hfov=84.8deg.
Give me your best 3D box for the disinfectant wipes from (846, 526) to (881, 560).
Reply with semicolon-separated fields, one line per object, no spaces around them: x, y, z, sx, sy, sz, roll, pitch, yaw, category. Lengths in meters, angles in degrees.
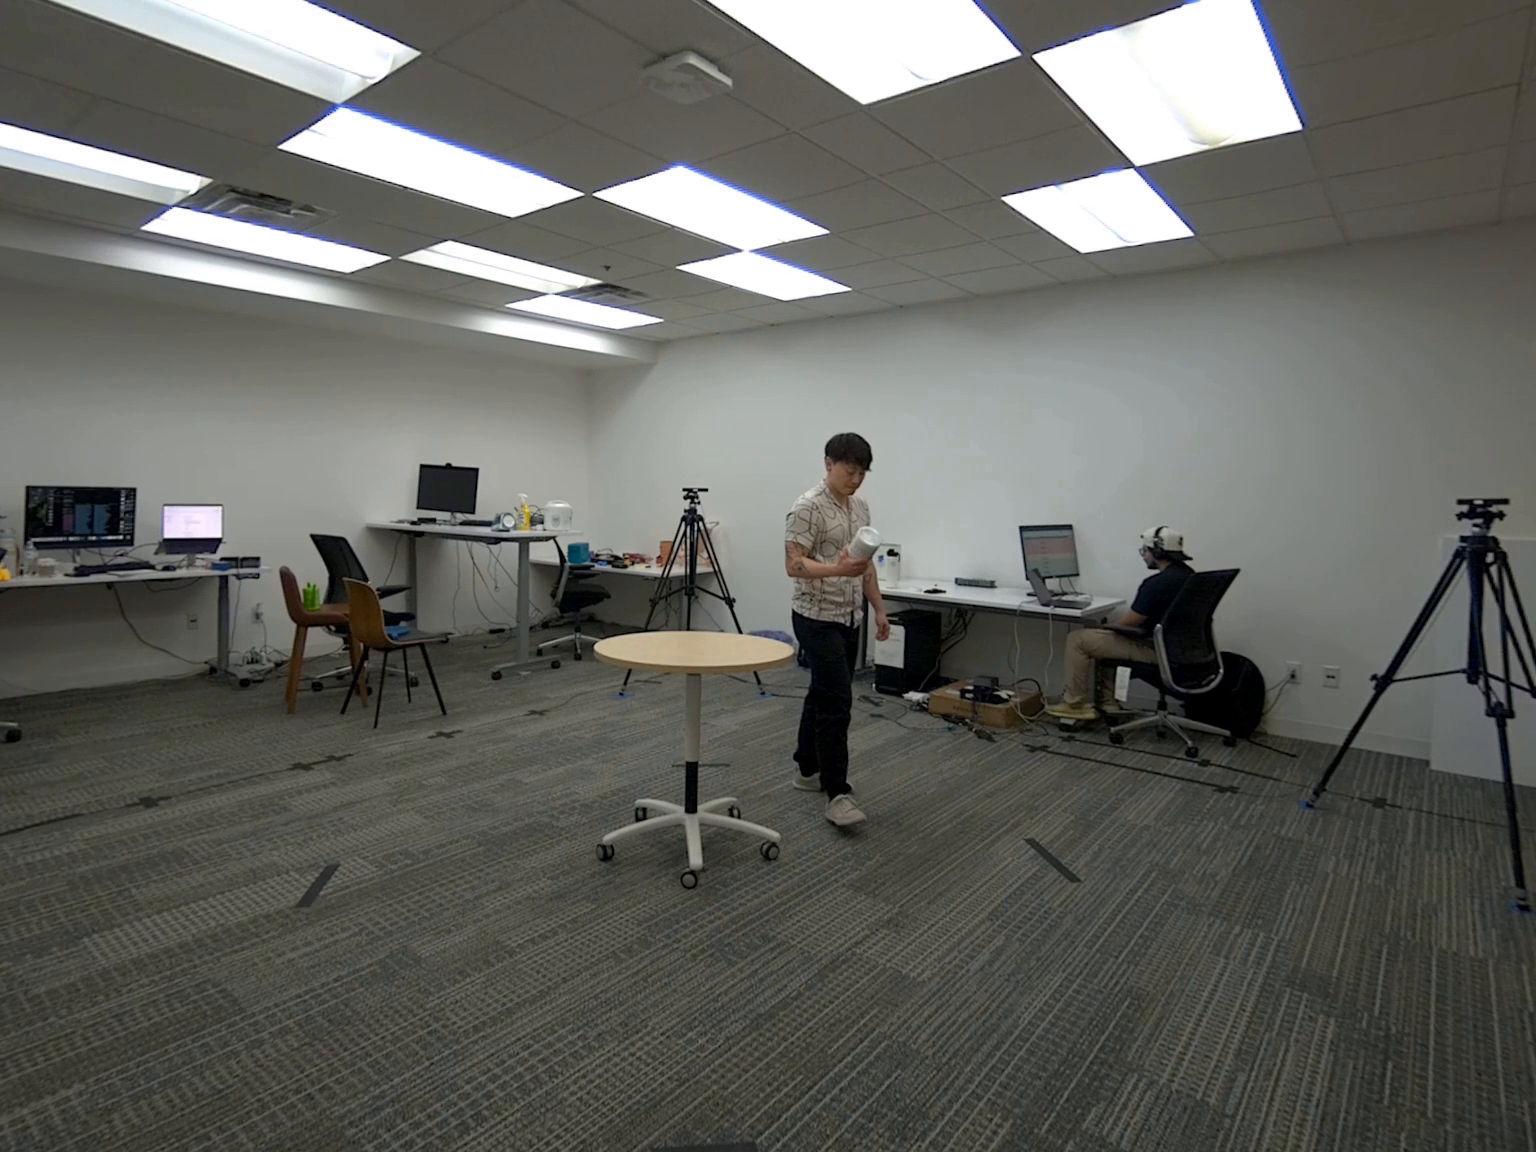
0.380;-0.108;3.517;0.115;0.122;0.215;0;-36;-22;disinfectant wipes
